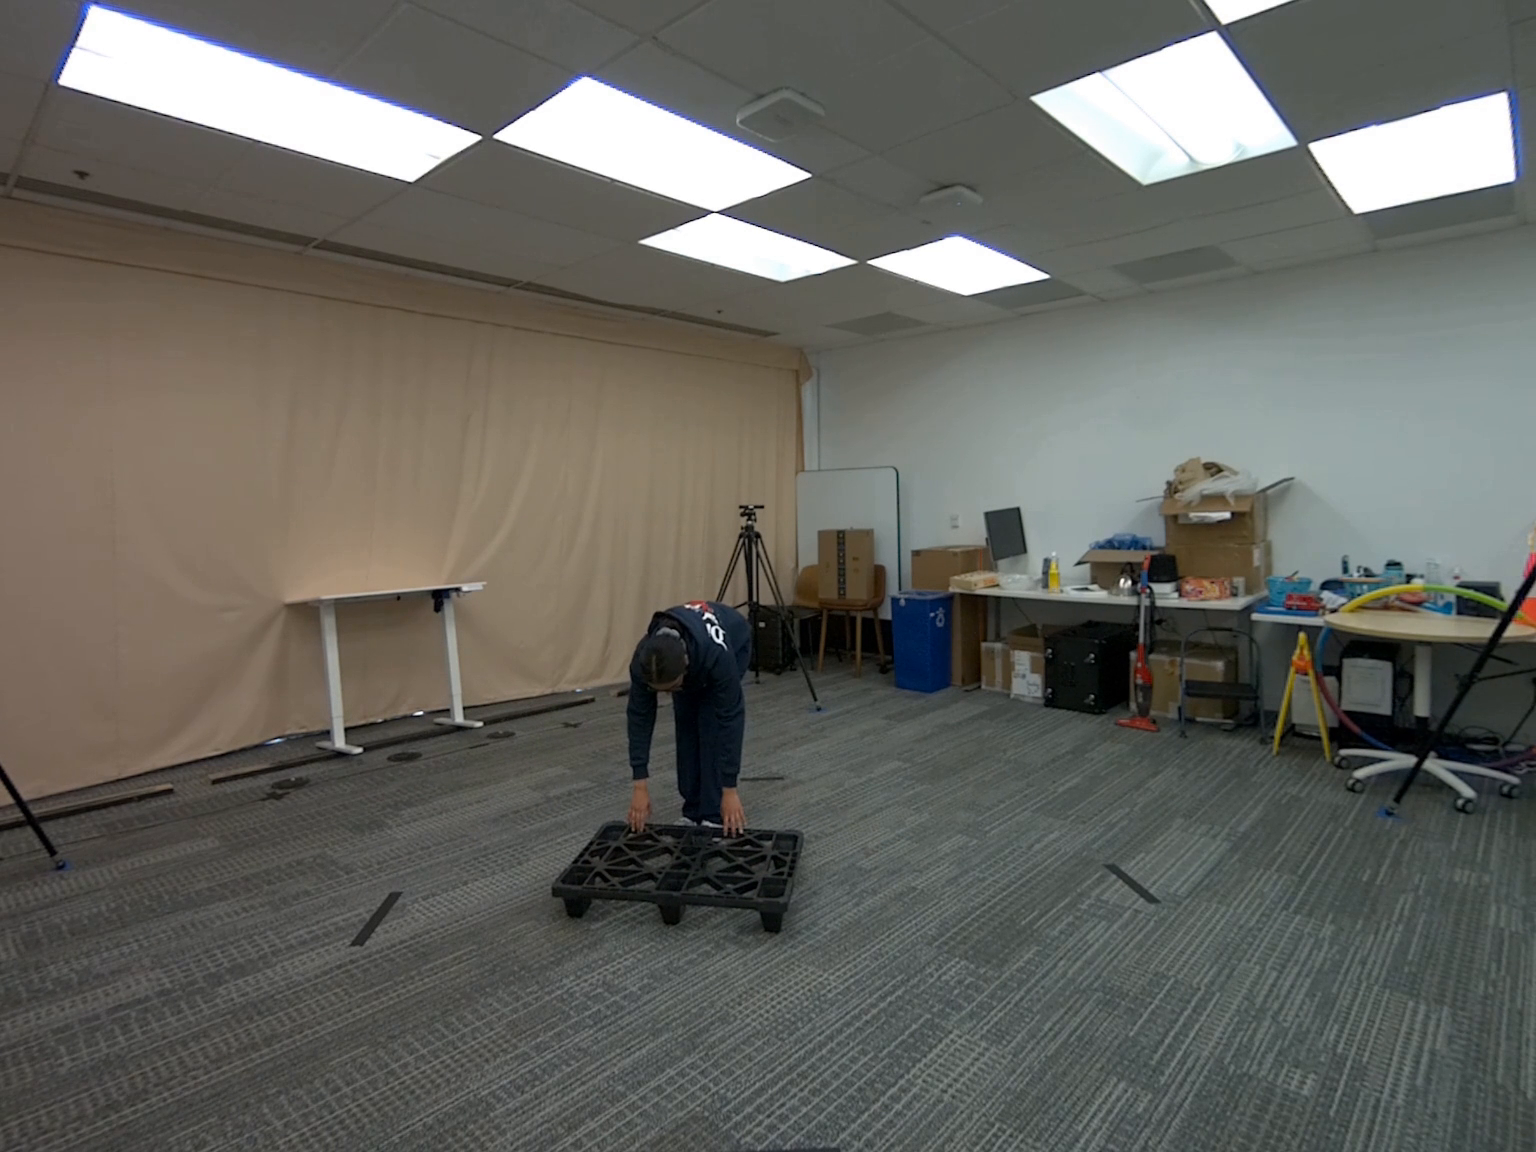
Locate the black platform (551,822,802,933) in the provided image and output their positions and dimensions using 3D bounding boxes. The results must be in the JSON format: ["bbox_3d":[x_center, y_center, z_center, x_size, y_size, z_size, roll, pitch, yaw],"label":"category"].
[{"bbox_3d":[-0.294,1.073,3.035,0.815,0.143,0.599,0,4,10],"label":"black platform"}]
